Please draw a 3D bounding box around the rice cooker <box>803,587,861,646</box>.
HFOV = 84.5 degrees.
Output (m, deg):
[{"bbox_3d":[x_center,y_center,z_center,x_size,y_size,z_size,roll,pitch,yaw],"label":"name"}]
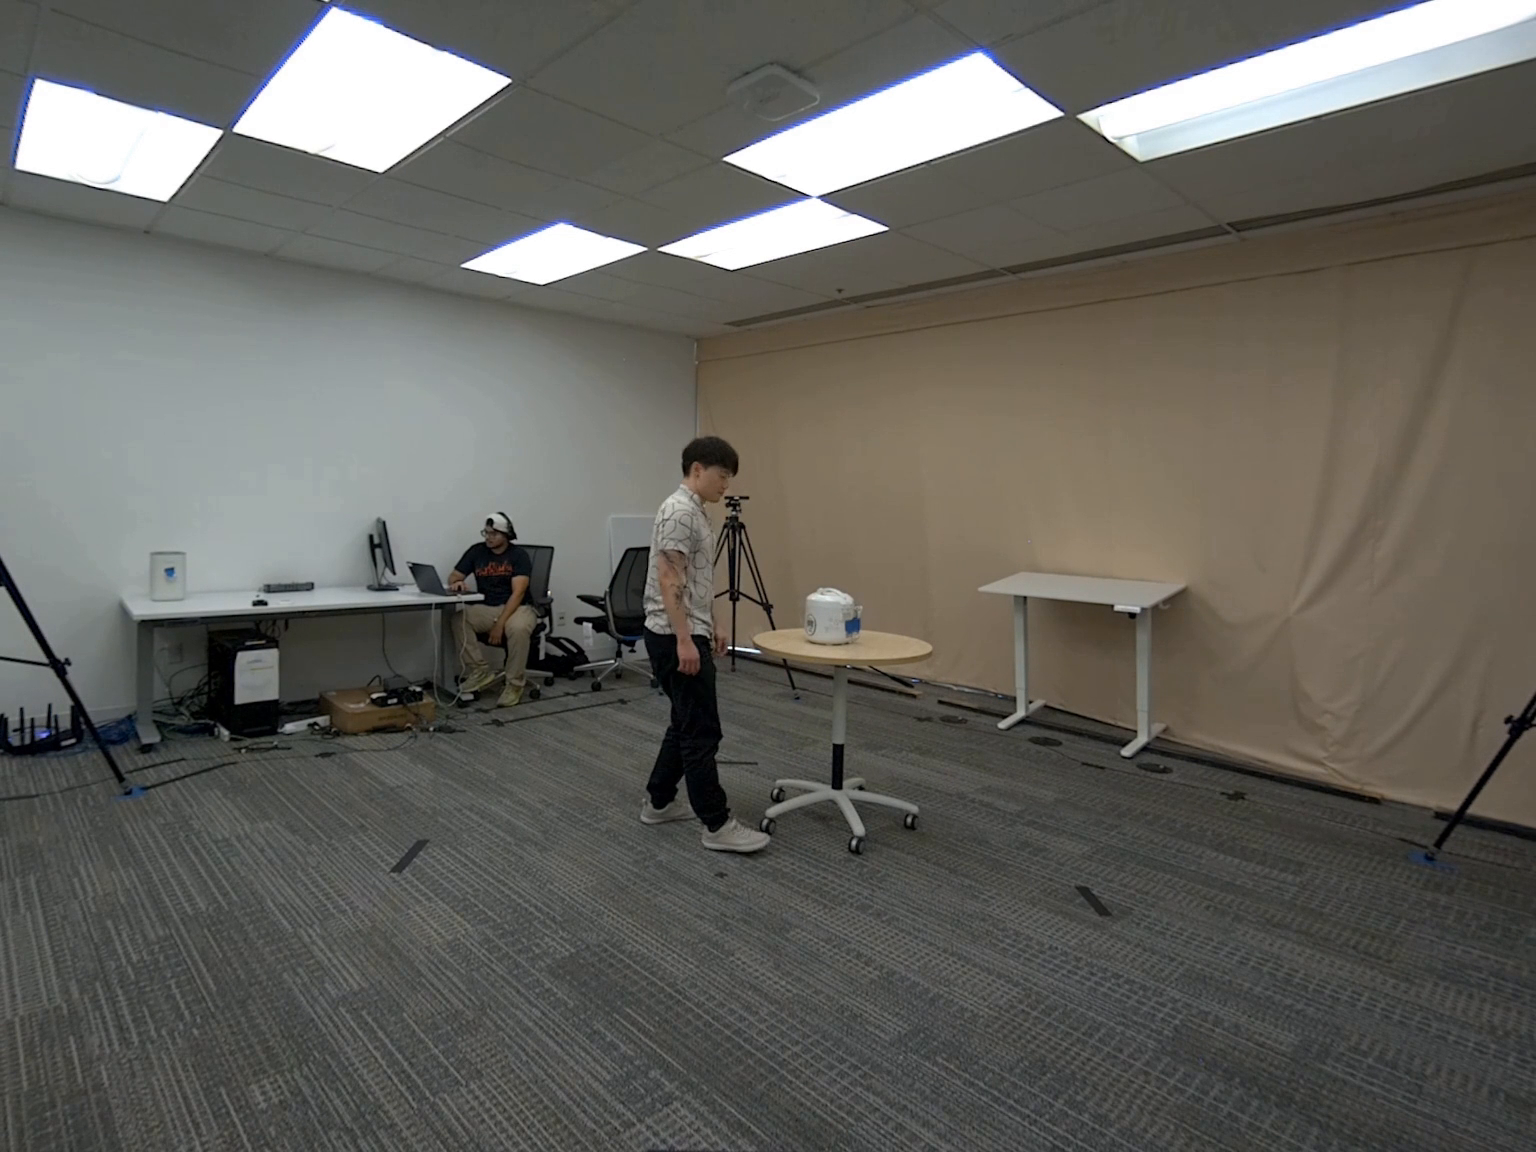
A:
[{"bbox_3d":[0.254,0.168,3.627,0.212,0.232,0.226,0,3,-38],"label":"rice cooker"}]
